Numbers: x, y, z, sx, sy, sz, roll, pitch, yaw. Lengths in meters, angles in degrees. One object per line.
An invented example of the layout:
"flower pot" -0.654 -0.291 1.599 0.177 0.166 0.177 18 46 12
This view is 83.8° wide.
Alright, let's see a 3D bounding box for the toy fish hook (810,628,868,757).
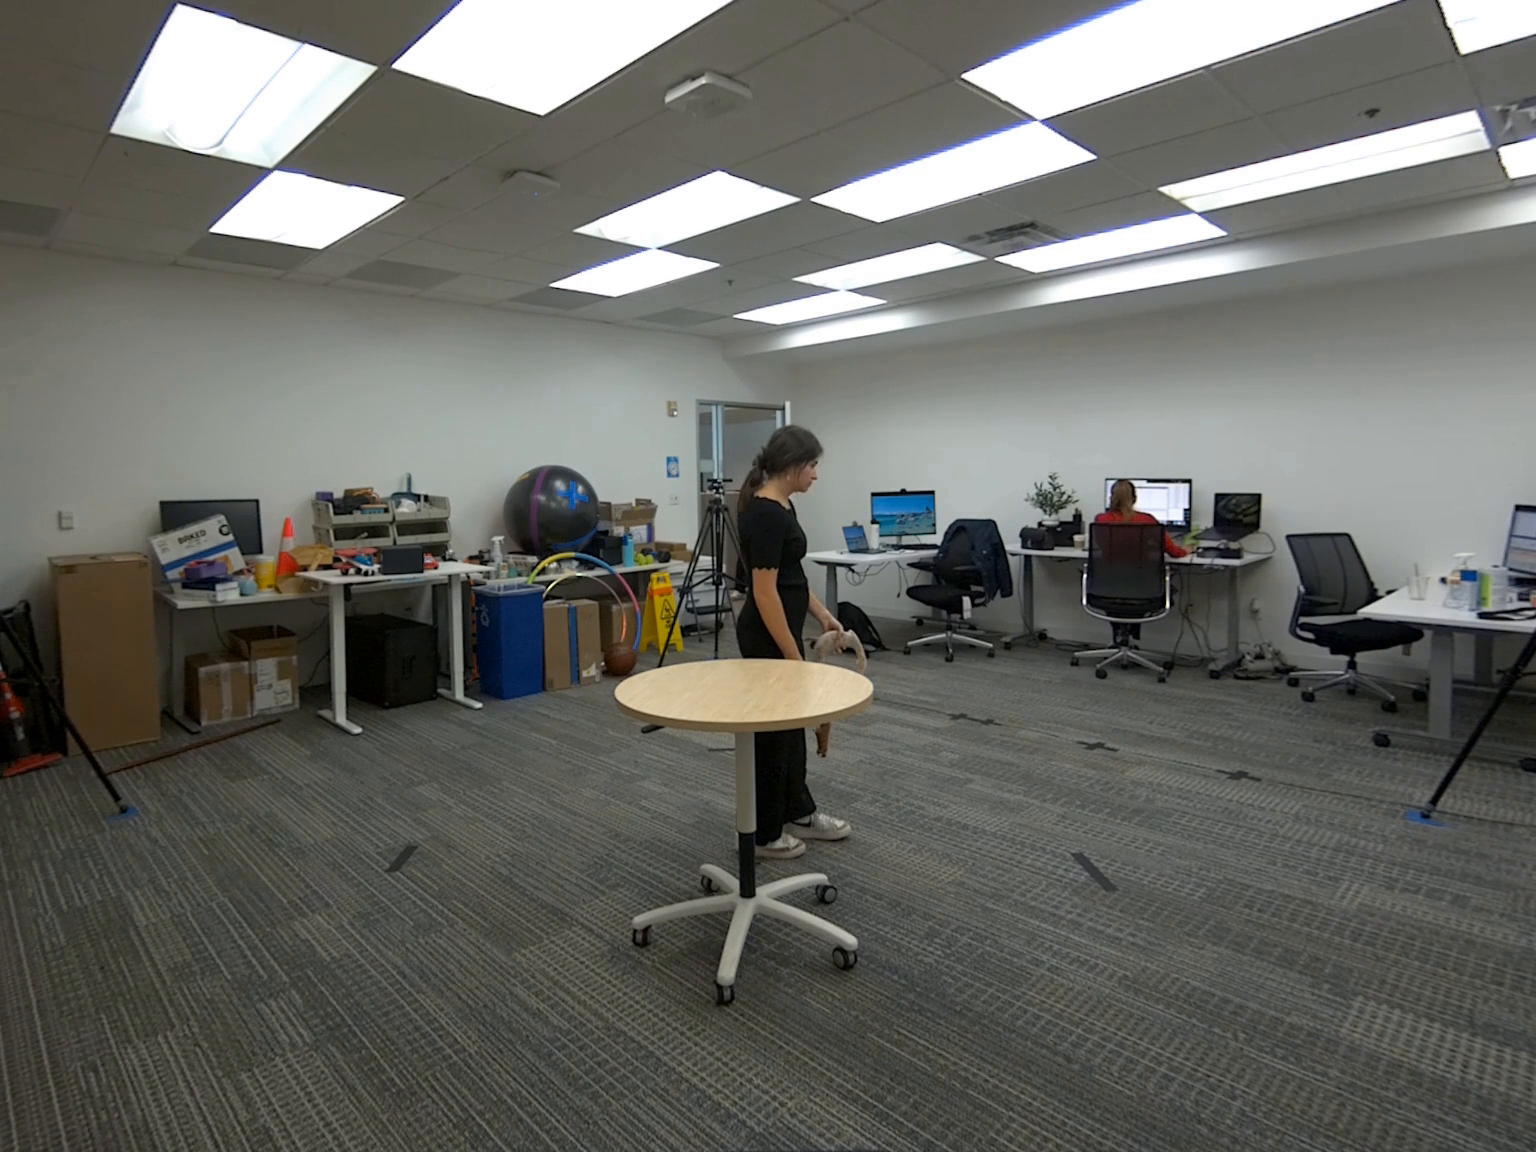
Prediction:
"toy fish hook" 0.288 0.452 3.323 0.223 0.503 0.049 1 7 -6
